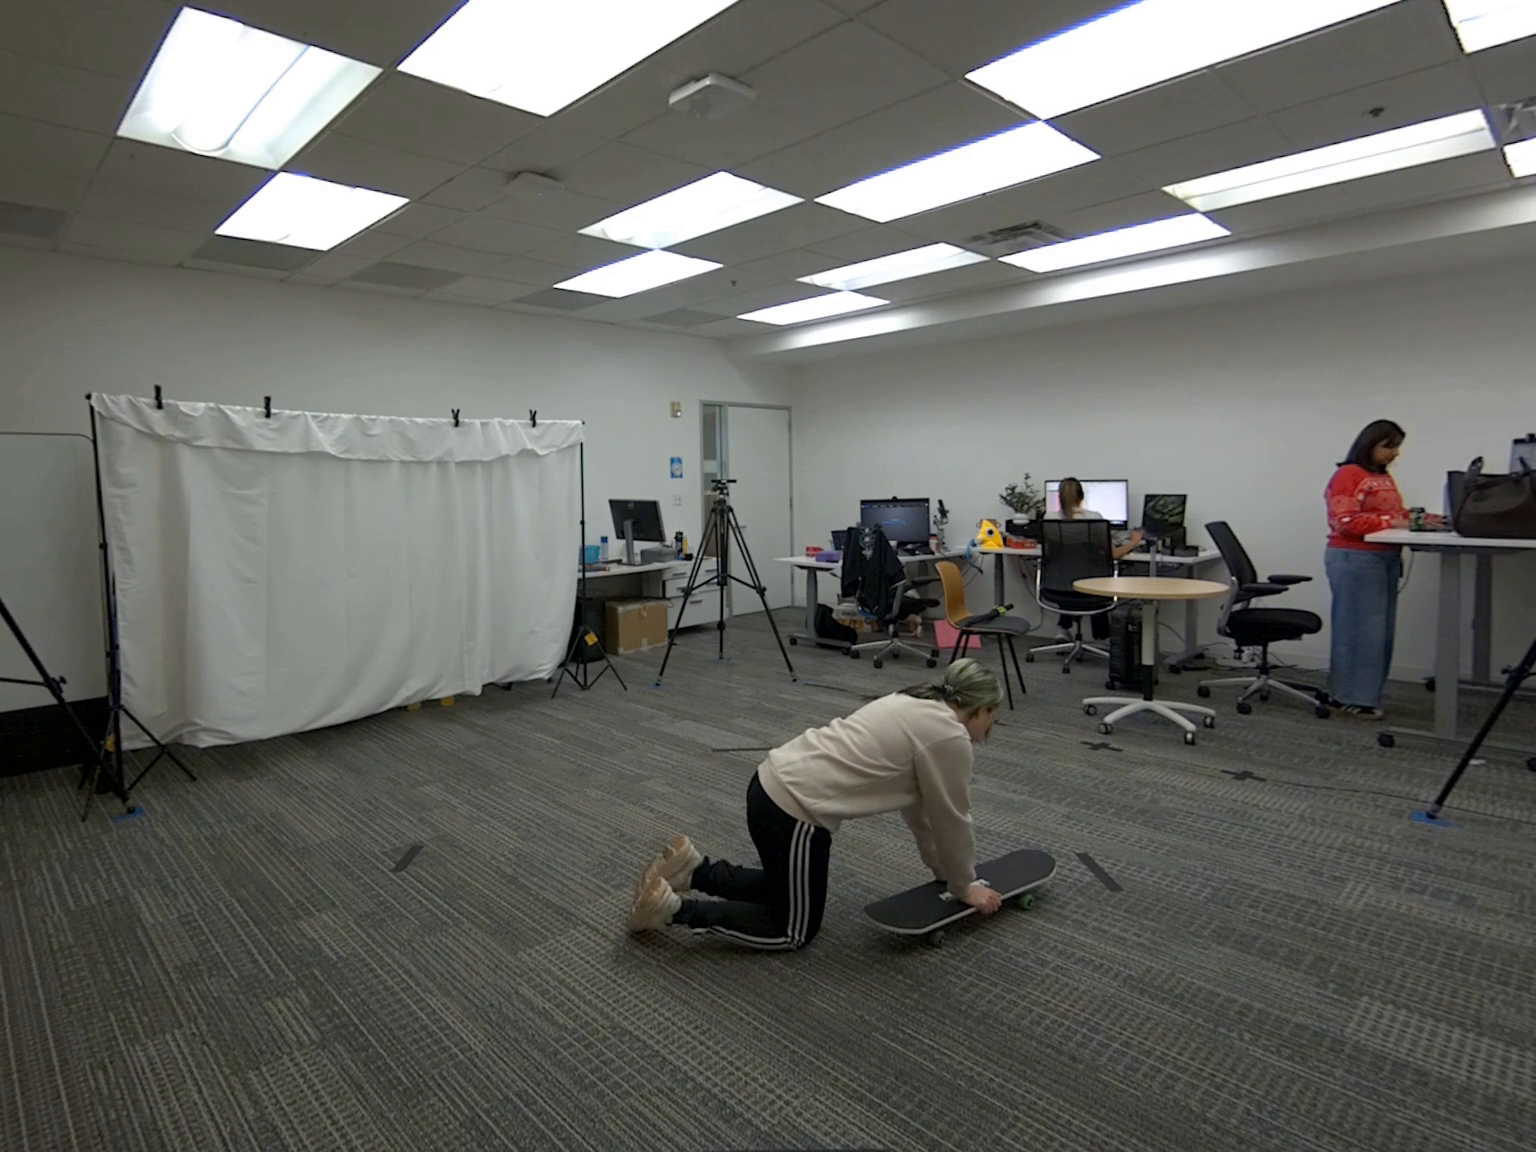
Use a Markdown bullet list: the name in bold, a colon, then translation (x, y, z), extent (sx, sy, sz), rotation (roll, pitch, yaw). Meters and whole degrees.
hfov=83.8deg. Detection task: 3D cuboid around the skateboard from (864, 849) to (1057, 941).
- **skateboard**: translation (0.624, 1.018, 2.704), extent (0.767, 0.110, 0.199), rotation (-5, 7, -32)
